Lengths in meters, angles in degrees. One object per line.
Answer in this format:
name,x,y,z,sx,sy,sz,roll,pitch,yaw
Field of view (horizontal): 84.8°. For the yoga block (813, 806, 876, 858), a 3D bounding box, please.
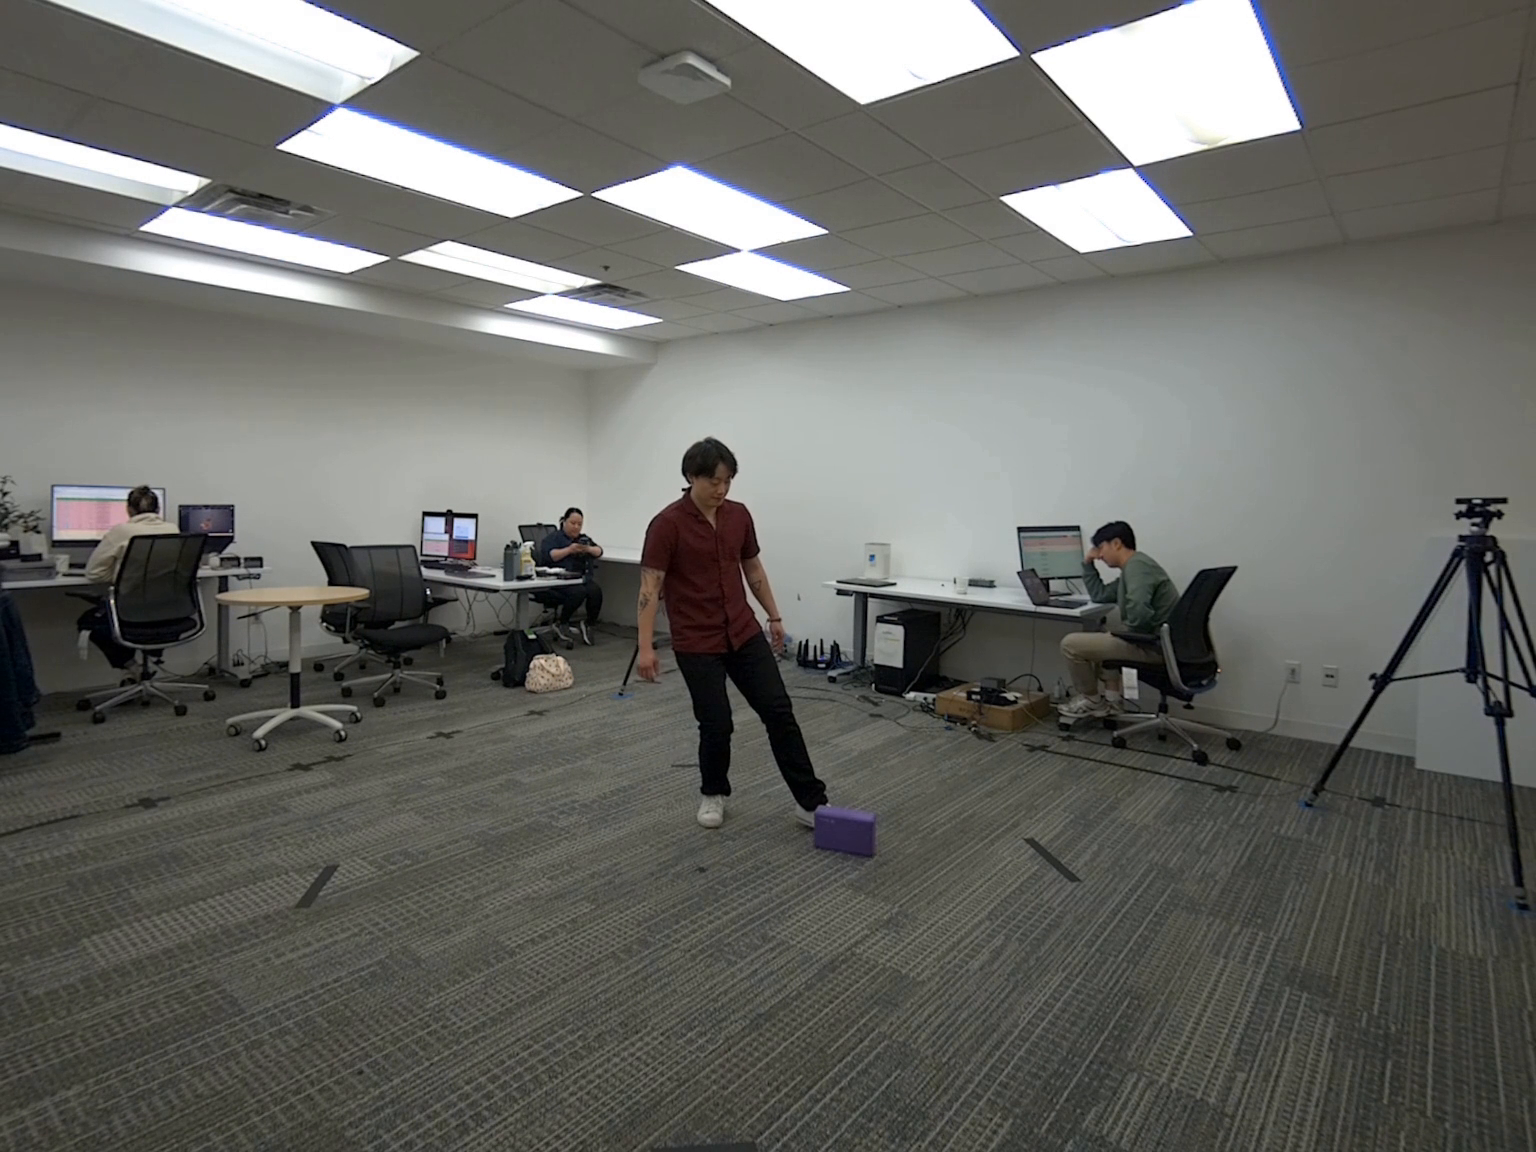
yoga block,0.294,0.983,3.307,0.234,0.148,0.075,4,8,20
